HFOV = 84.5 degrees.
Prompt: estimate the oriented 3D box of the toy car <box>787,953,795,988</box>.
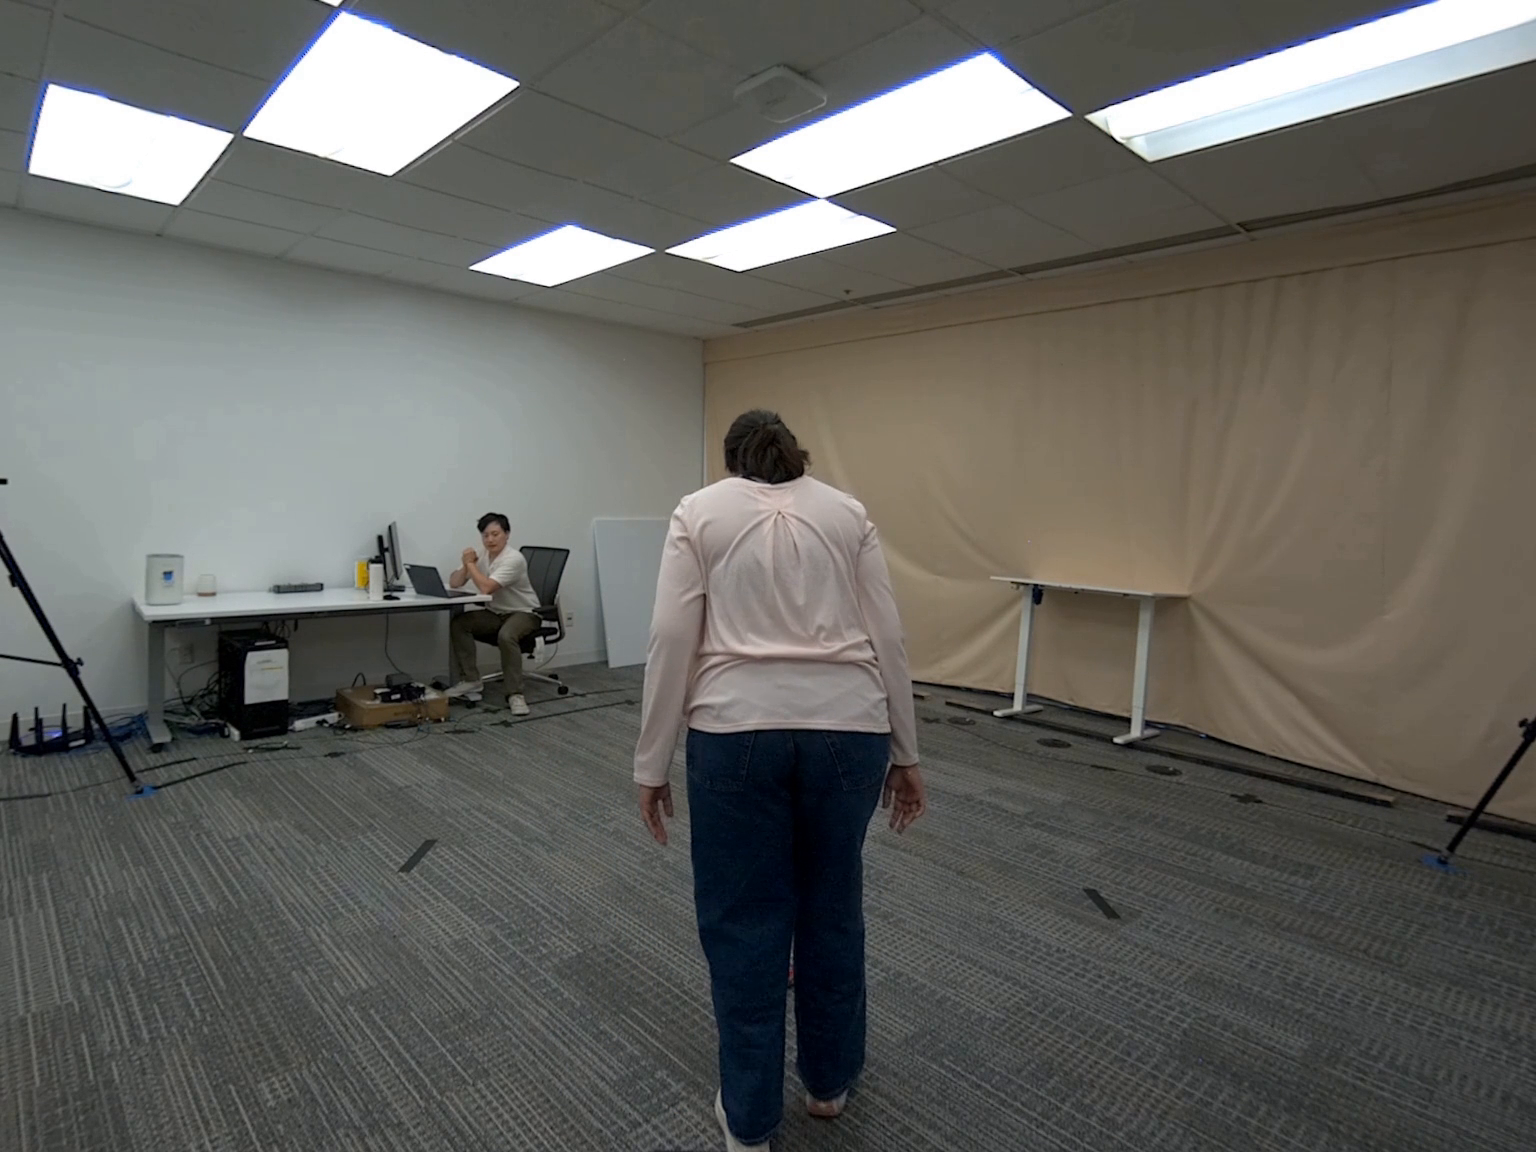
[{"bbox_3d":[0.015,1.148,2.416,0.248,0.083,0.133,12,0,-31],"label":"toy car"}]
